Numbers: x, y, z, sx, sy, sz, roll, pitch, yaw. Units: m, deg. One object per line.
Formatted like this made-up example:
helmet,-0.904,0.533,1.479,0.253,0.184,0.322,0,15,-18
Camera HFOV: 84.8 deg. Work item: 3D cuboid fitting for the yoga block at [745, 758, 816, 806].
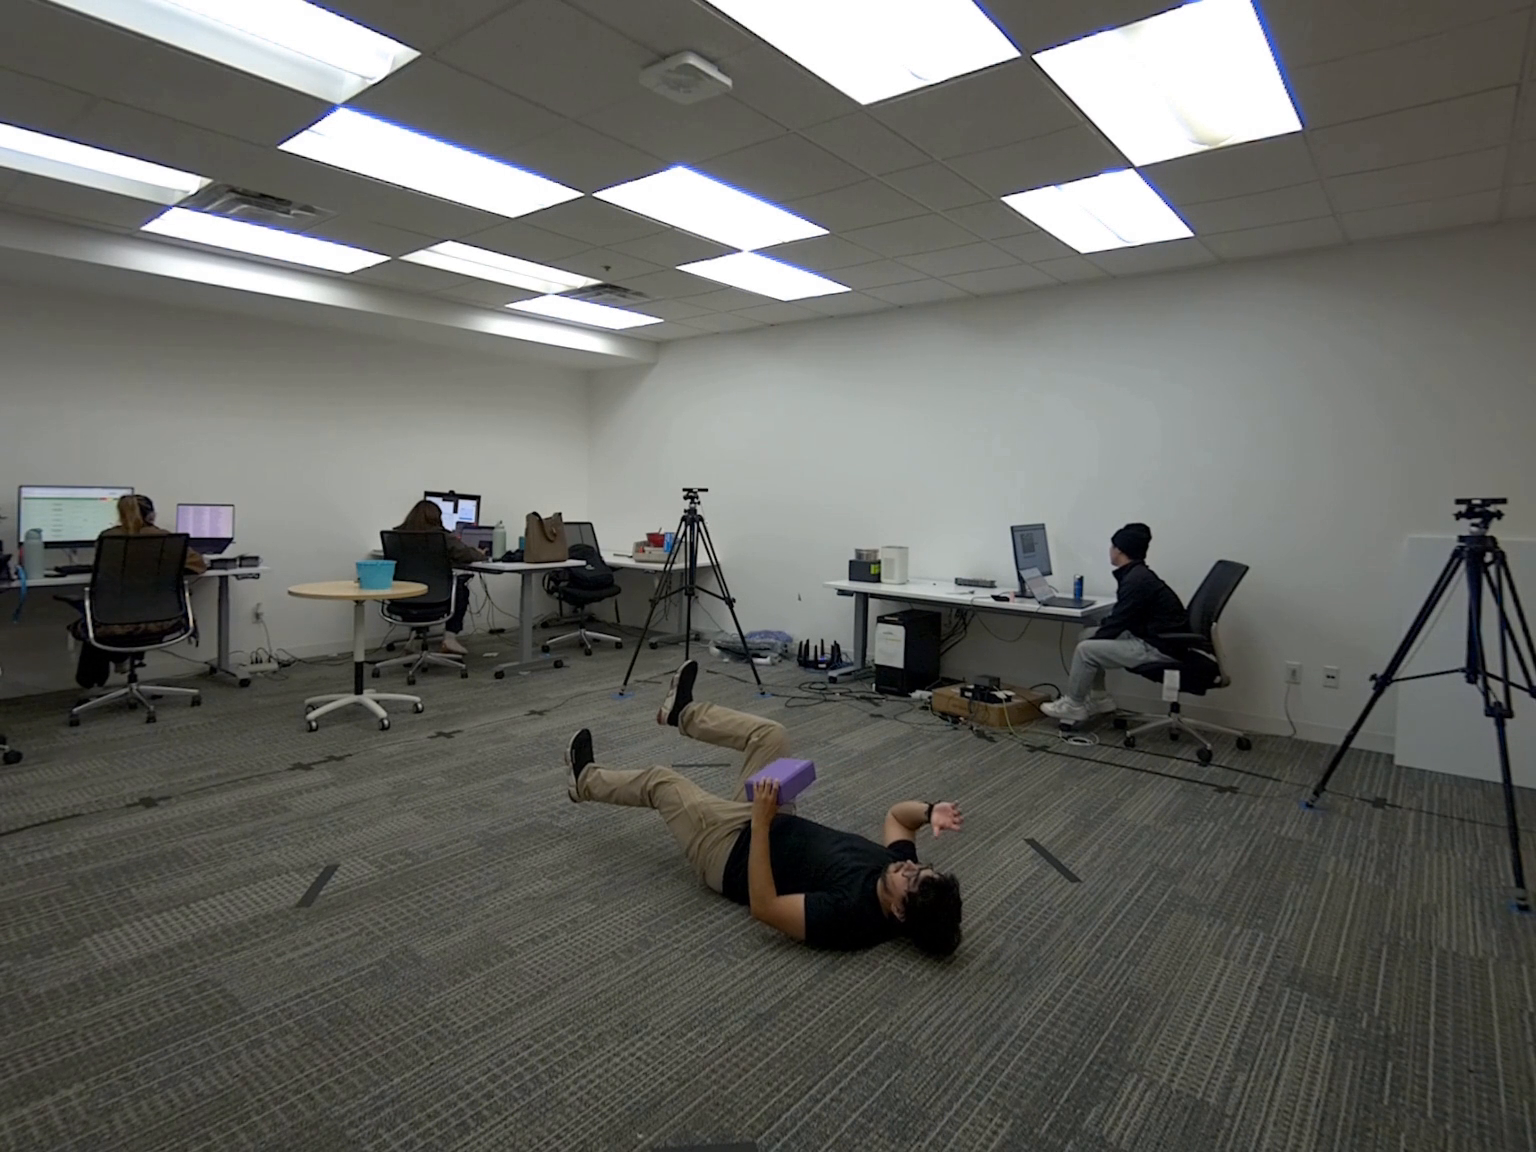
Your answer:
yoga block,0.042,0.697,2.896,0.153,0.076,0.225,-6,8,34
